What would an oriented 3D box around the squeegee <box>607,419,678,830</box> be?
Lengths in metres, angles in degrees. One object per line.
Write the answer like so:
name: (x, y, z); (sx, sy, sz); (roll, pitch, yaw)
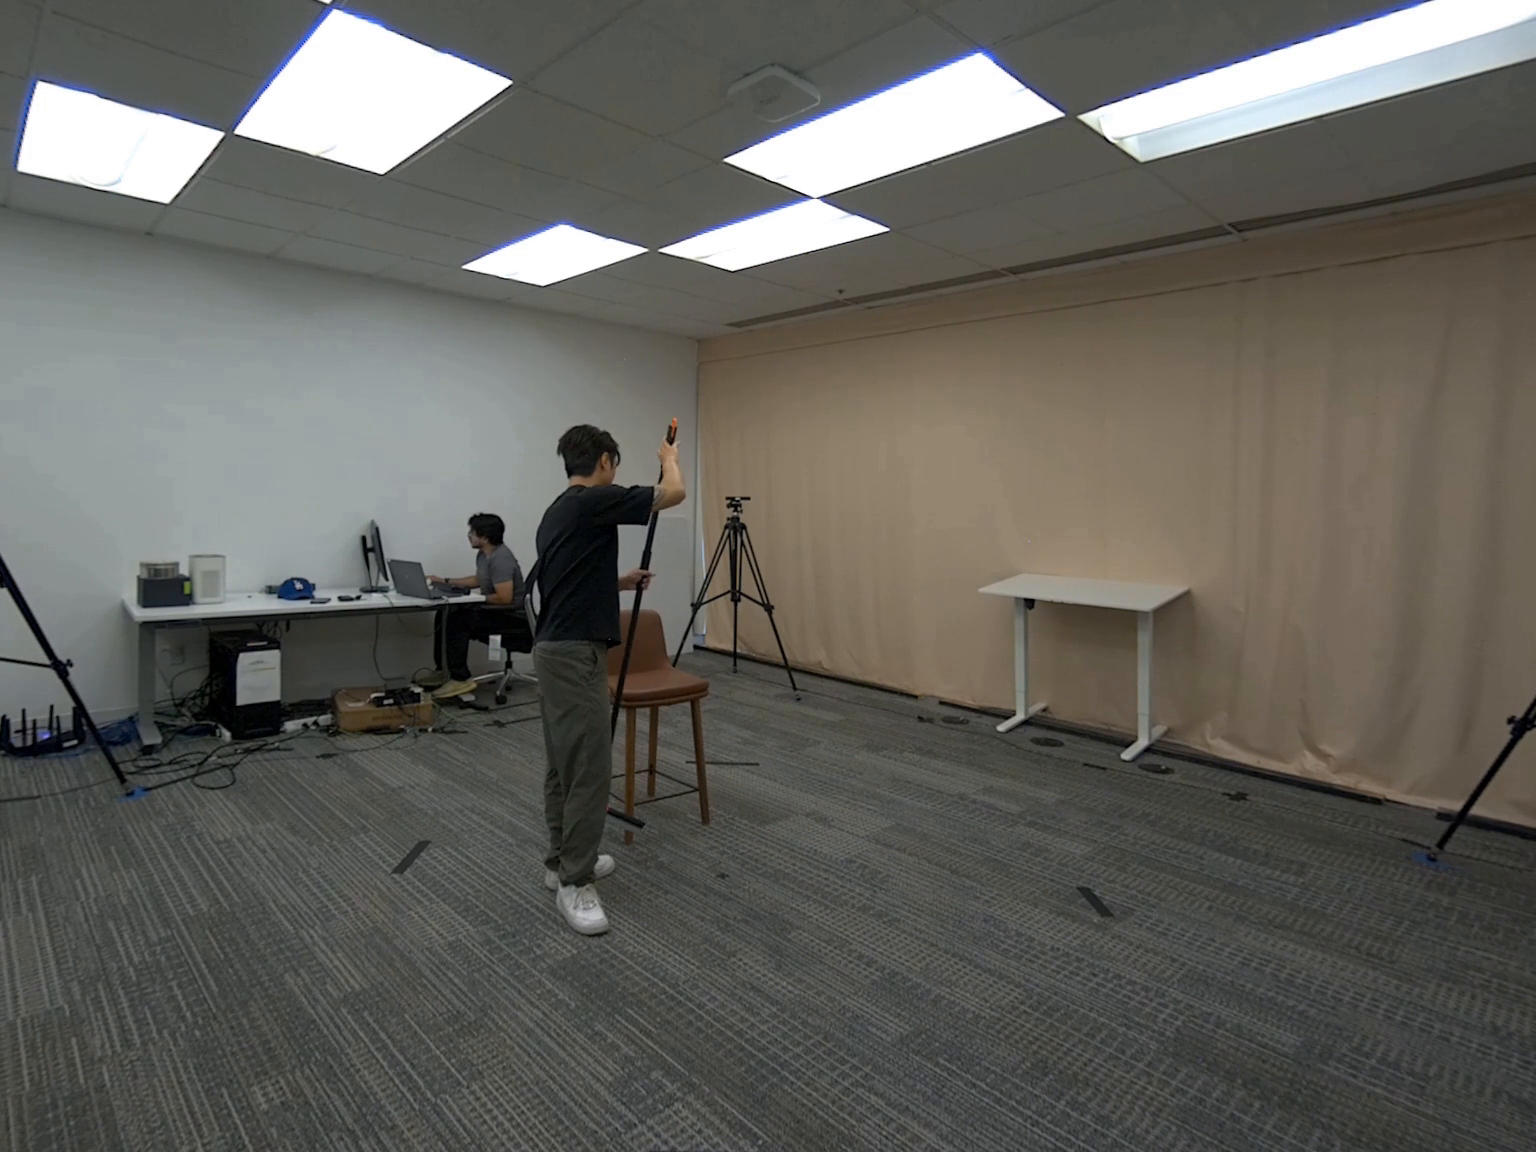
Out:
squeegee: (-0.514, 0.177, 3.198); (0.441, 1.535, 0.052); (11, 3, 8)
